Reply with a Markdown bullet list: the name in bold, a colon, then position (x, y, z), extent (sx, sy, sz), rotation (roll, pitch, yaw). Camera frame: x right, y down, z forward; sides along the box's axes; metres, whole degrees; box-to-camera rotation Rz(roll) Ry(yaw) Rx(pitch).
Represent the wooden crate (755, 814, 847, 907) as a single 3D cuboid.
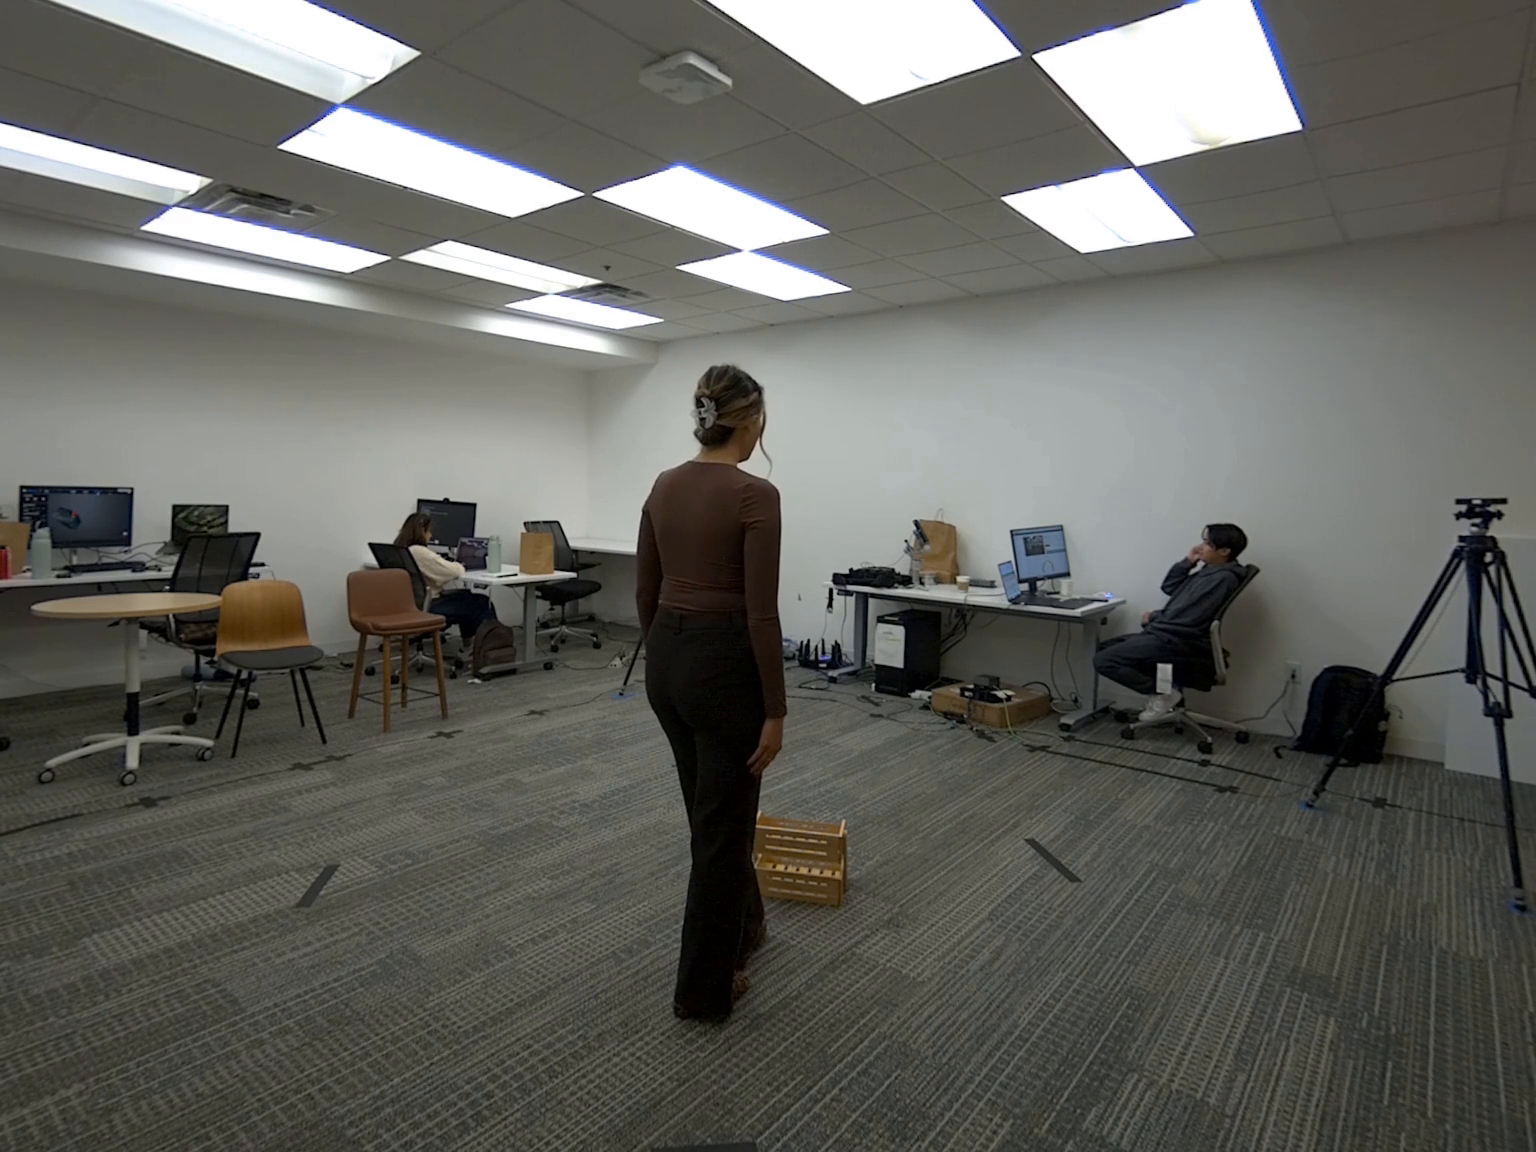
- **wooden crate**: position (0.112, 0.957, 2.980), extent (0.329, 0.272, 0.299), rotation (2, 5, 11)
